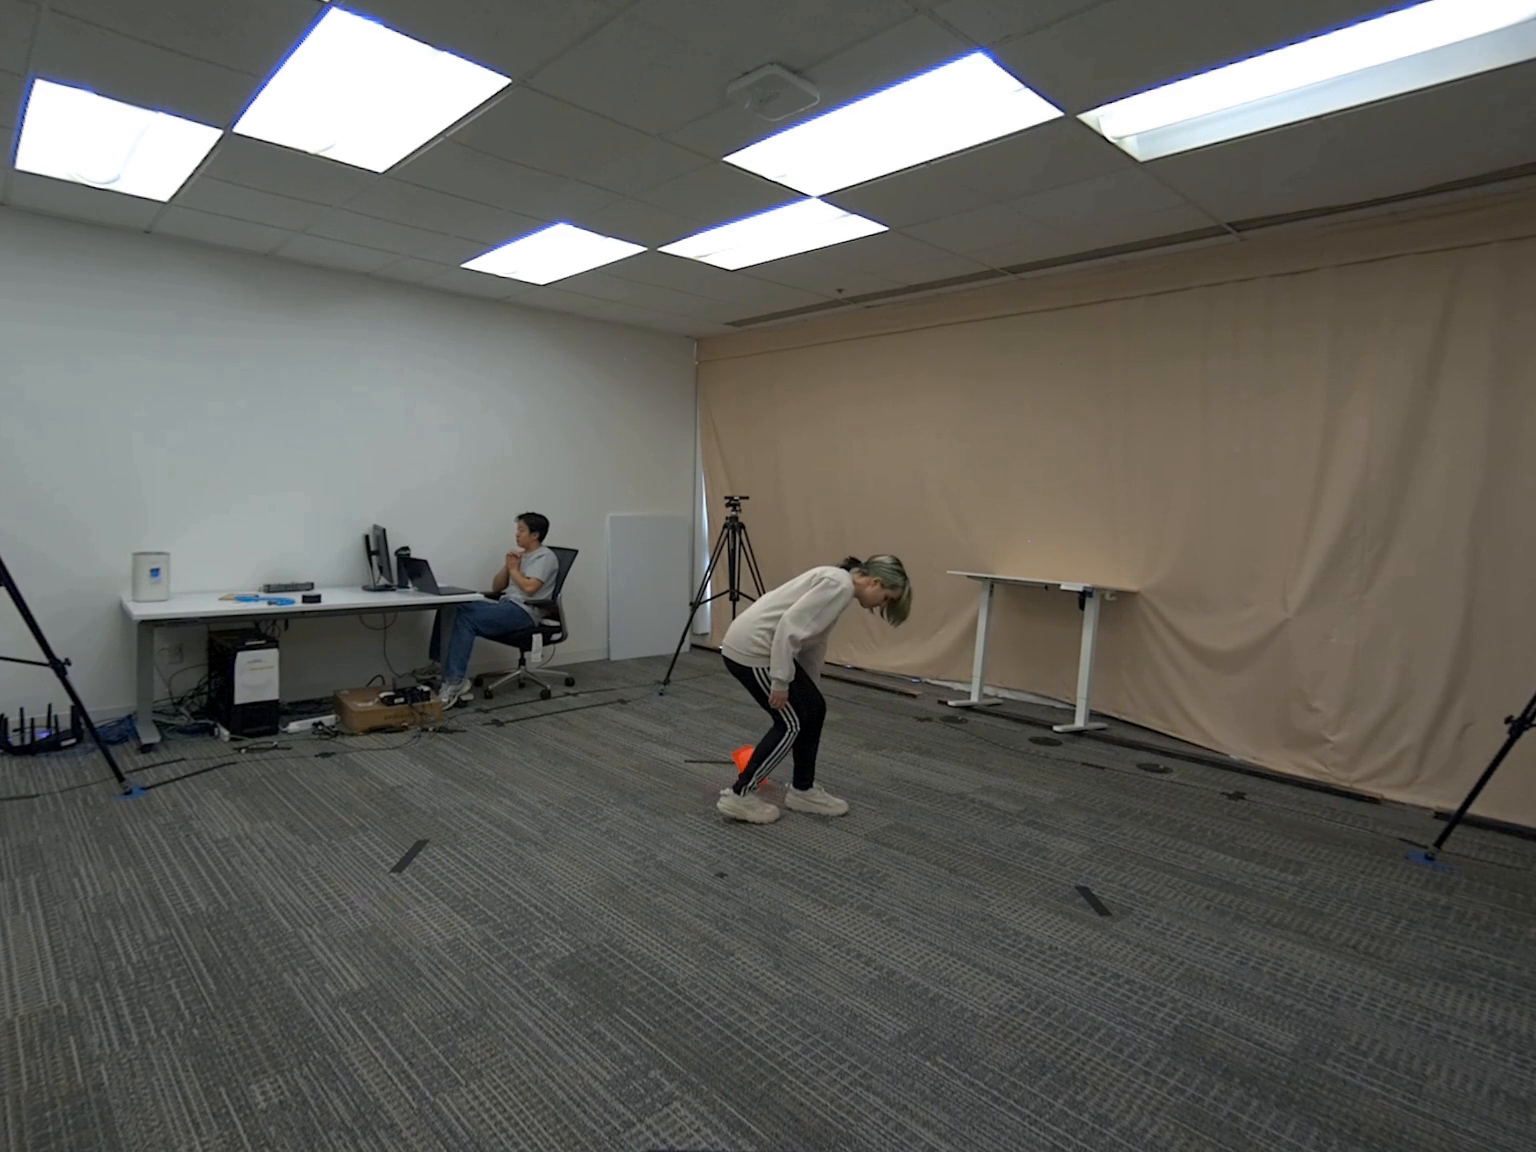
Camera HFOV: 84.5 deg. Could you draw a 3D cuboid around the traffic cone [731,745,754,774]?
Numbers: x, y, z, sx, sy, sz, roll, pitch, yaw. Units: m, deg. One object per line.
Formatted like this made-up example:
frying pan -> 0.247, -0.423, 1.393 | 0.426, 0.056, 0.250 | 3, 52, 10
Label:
traffic cone -> 0.043, 0.840, 4.011 | 0.385, 0.206, 0.201 | -35, -12, 22
